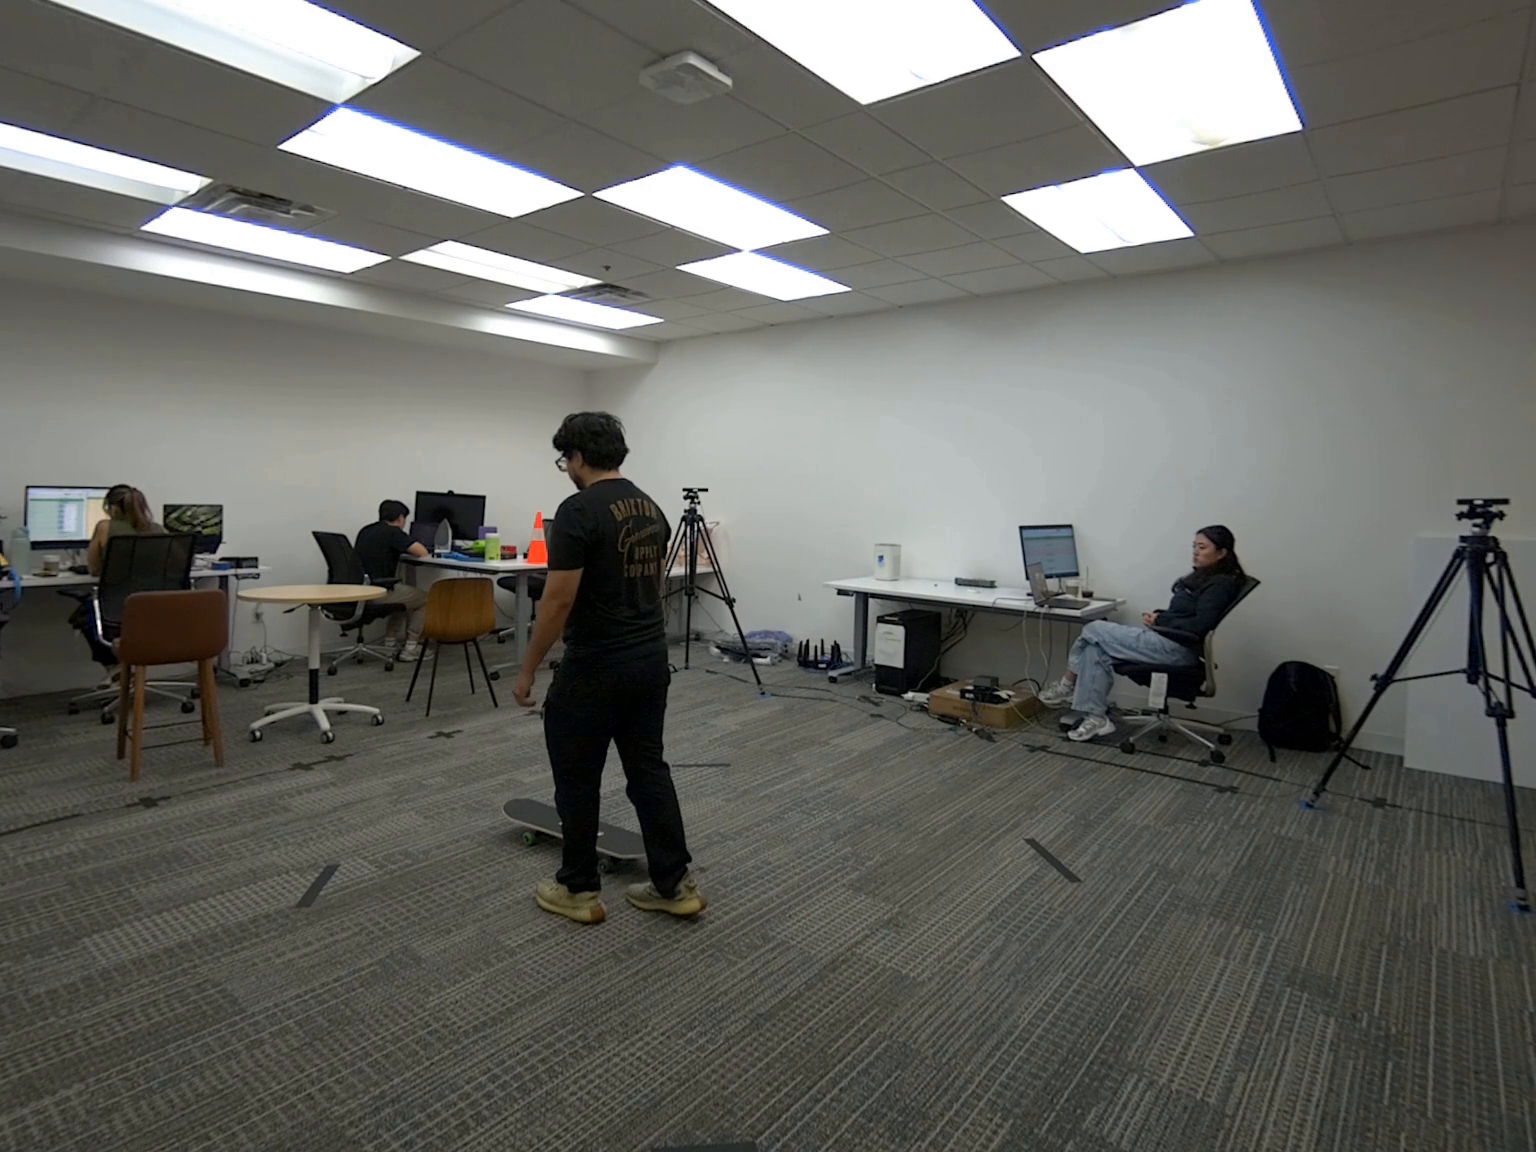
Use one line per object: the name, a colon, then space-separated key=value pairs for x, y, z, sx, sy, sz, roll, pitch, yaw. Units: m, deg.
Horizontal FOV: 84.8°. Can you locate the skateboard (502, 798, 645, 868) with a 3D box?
skateboard: x=-0.724 y=0.988 z=3.243 sx=0.810 sy=0.110 sz=0.188 roll=5 pitch=5 yaw=33
